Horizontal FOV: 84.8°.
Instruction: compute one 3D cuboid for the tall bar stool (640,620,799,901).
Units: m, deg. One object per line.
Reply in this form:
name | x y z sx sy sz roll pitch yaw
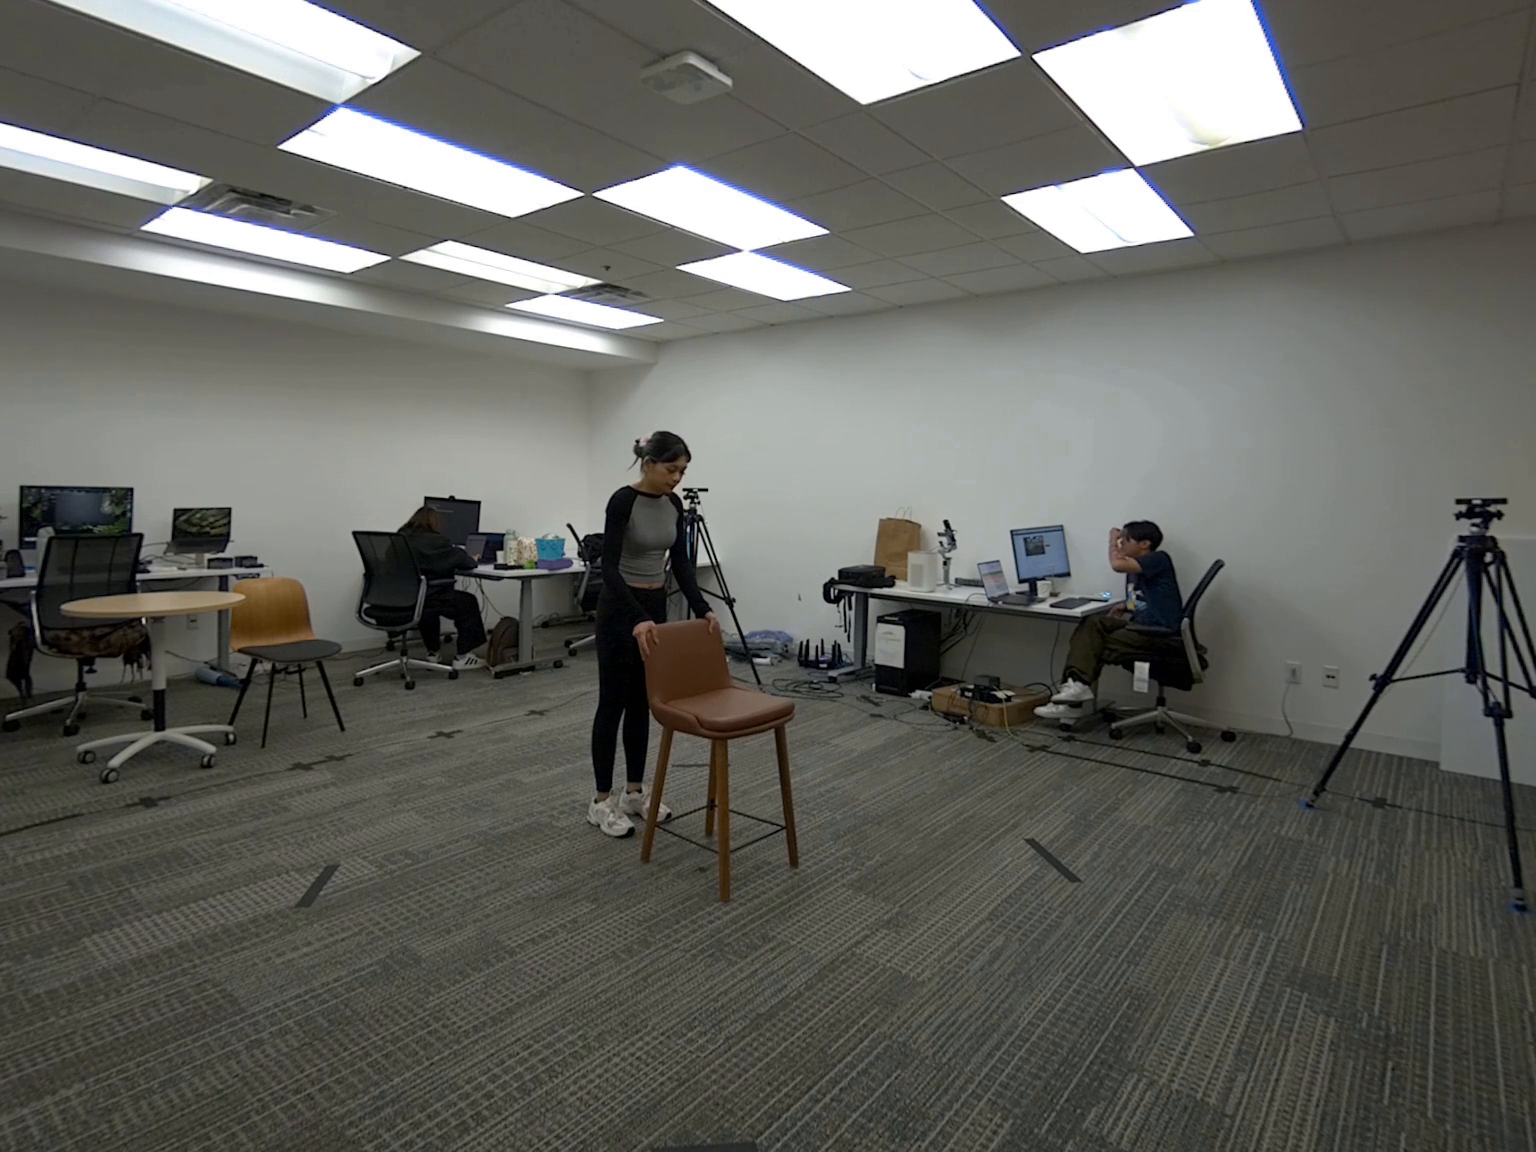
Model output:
tall bar stool | -0.194 0.627 3.142 0.482 0.889 0.442 0 2 41
